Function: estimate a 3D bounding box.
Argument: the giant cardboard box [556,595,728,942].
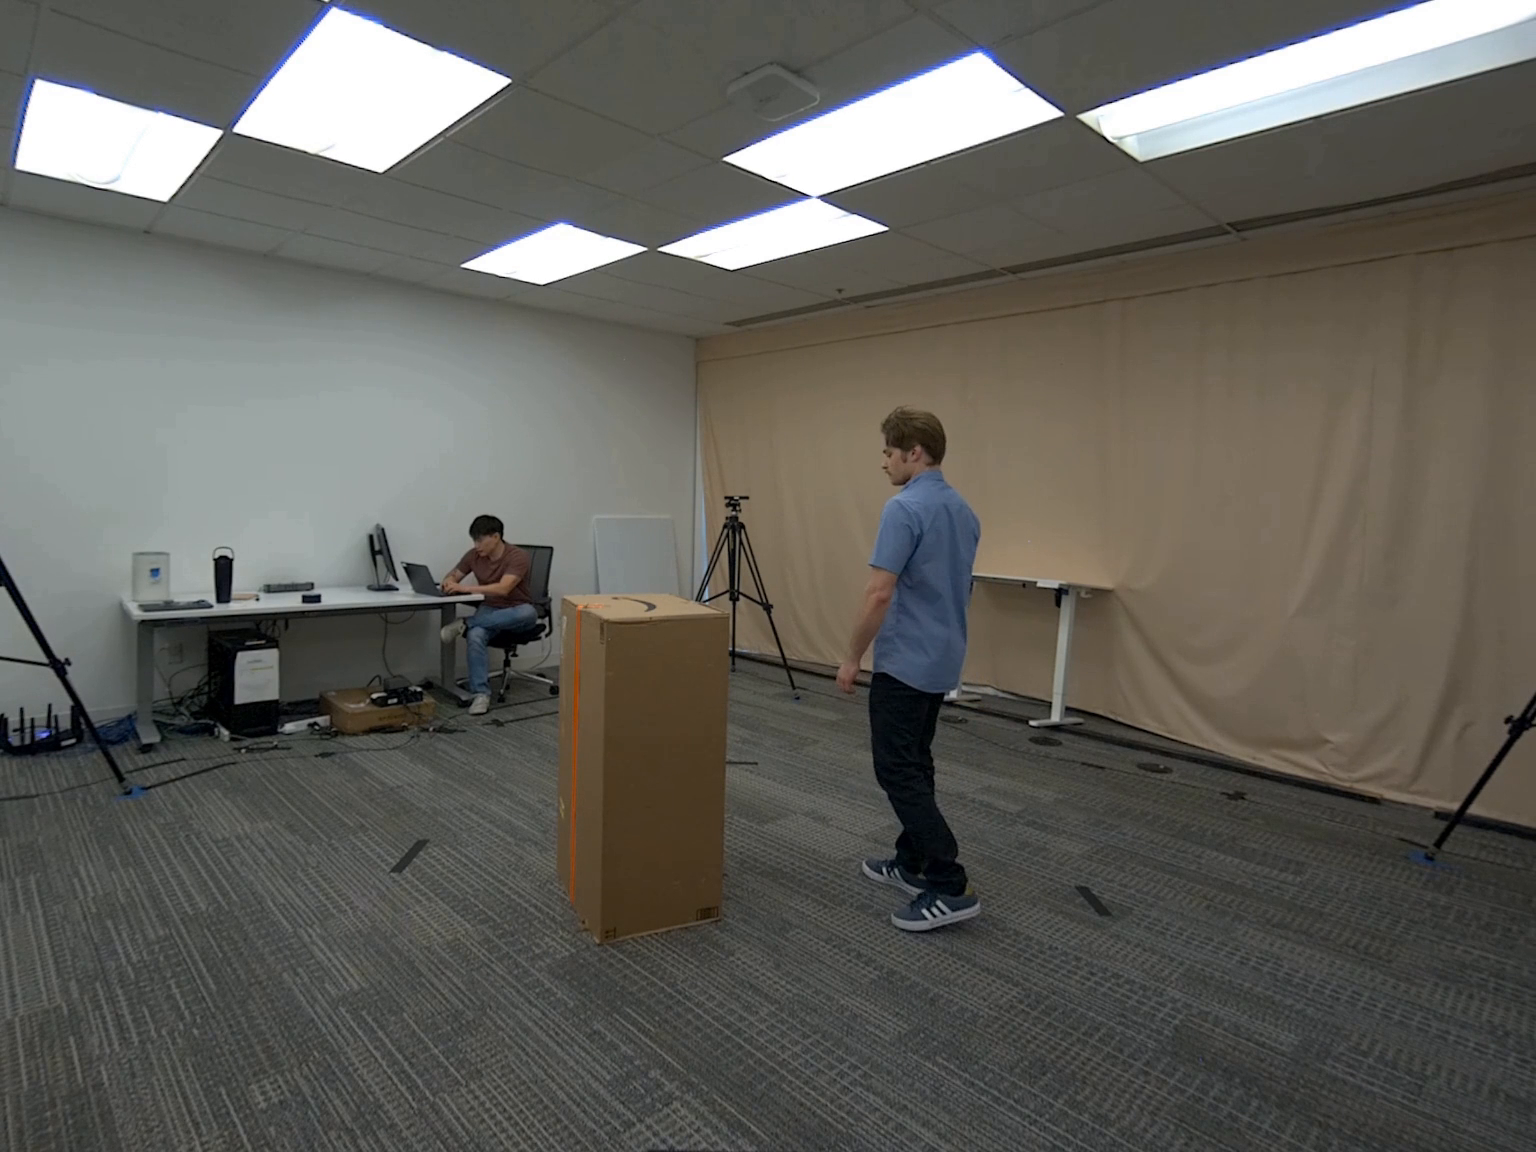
[{"bbox_3d":[-0.457,0.605,2.907,0.418,1.023,0.590,0,4,-27],"label":"giant cardboard box"}]
